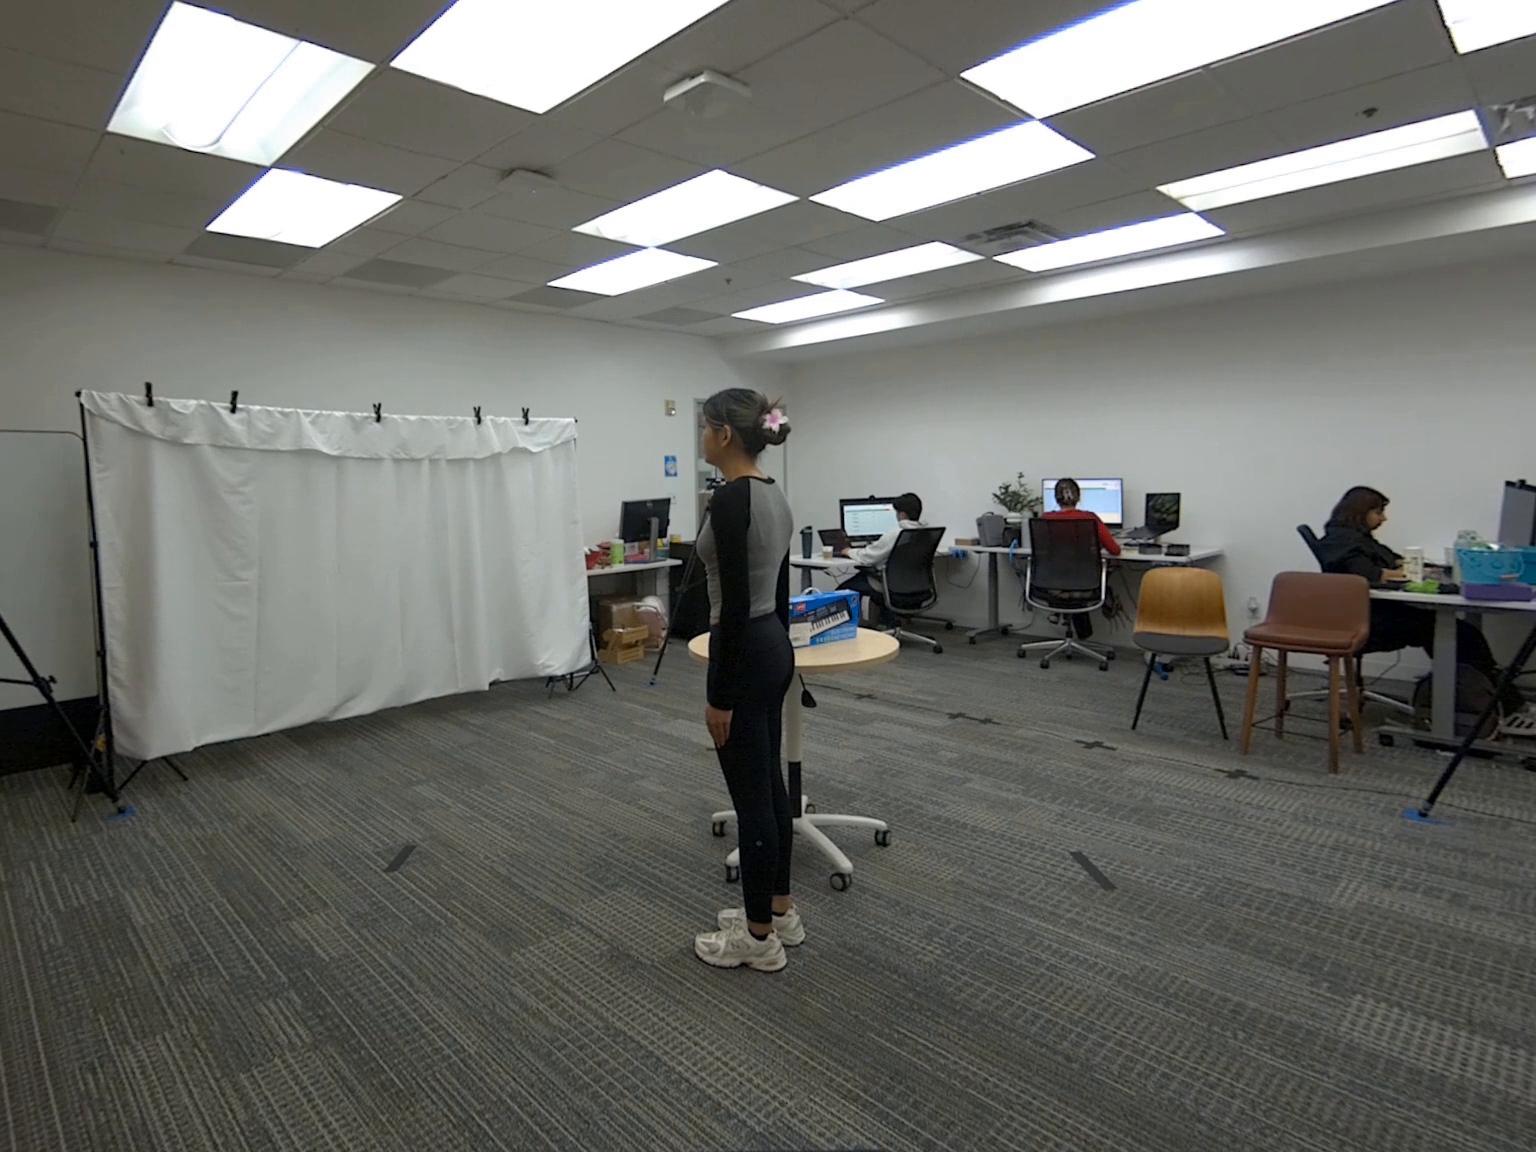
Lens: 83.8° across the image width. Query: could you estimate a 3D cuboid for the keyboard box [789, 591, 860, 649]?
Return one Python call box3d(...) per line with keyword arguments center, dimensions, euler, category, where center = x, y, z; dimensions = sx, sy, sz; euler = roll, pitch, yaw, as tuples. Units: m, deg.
box3d(center=(0.153, 0.162, 3.082), dimensions=(0.426, 0.174, 0.061), euler=(-7, 11, -38), category="keyboard box")
